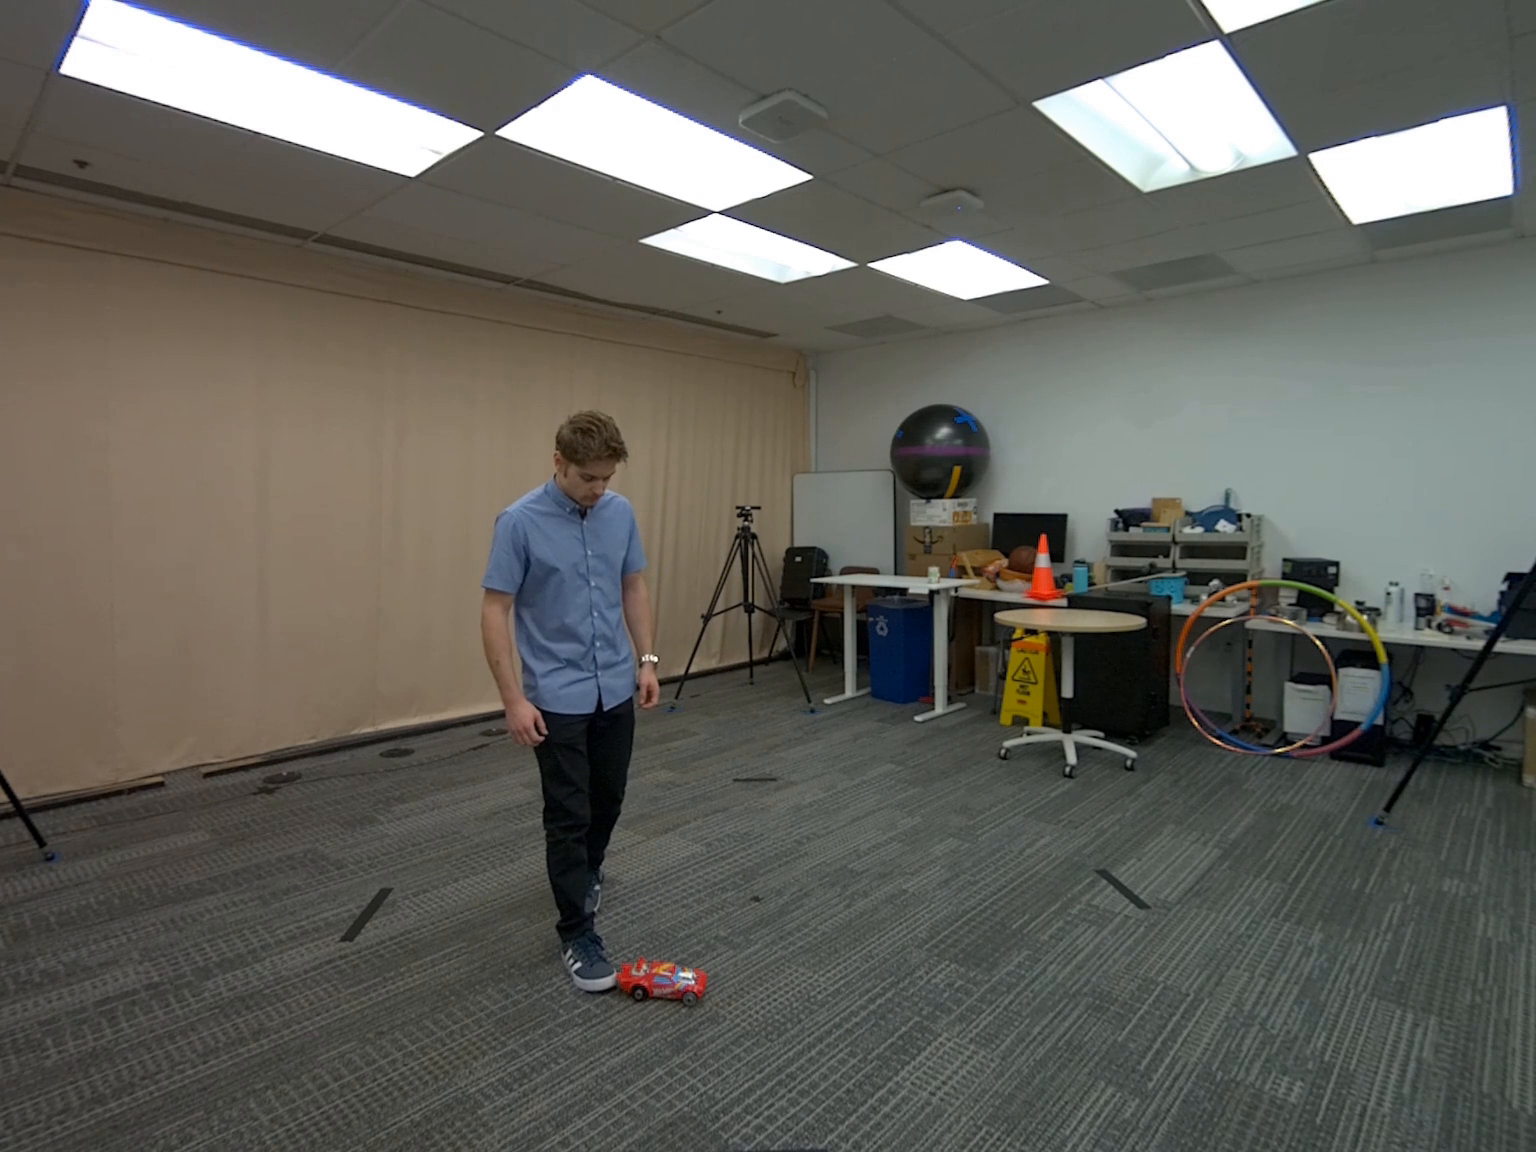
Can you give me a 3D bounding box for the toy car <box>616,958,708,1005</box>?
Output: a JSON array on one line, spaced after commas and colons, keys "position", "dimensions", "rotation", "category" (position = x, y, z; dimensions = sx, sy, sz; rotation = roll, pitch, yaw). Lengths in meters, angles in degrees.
[{"position": [-0.304, 1.166, 2.406], "dimensions": [0.257, 0.083, 0.129], "rotation": [11, 7, 8], "category": "toy car"}]
